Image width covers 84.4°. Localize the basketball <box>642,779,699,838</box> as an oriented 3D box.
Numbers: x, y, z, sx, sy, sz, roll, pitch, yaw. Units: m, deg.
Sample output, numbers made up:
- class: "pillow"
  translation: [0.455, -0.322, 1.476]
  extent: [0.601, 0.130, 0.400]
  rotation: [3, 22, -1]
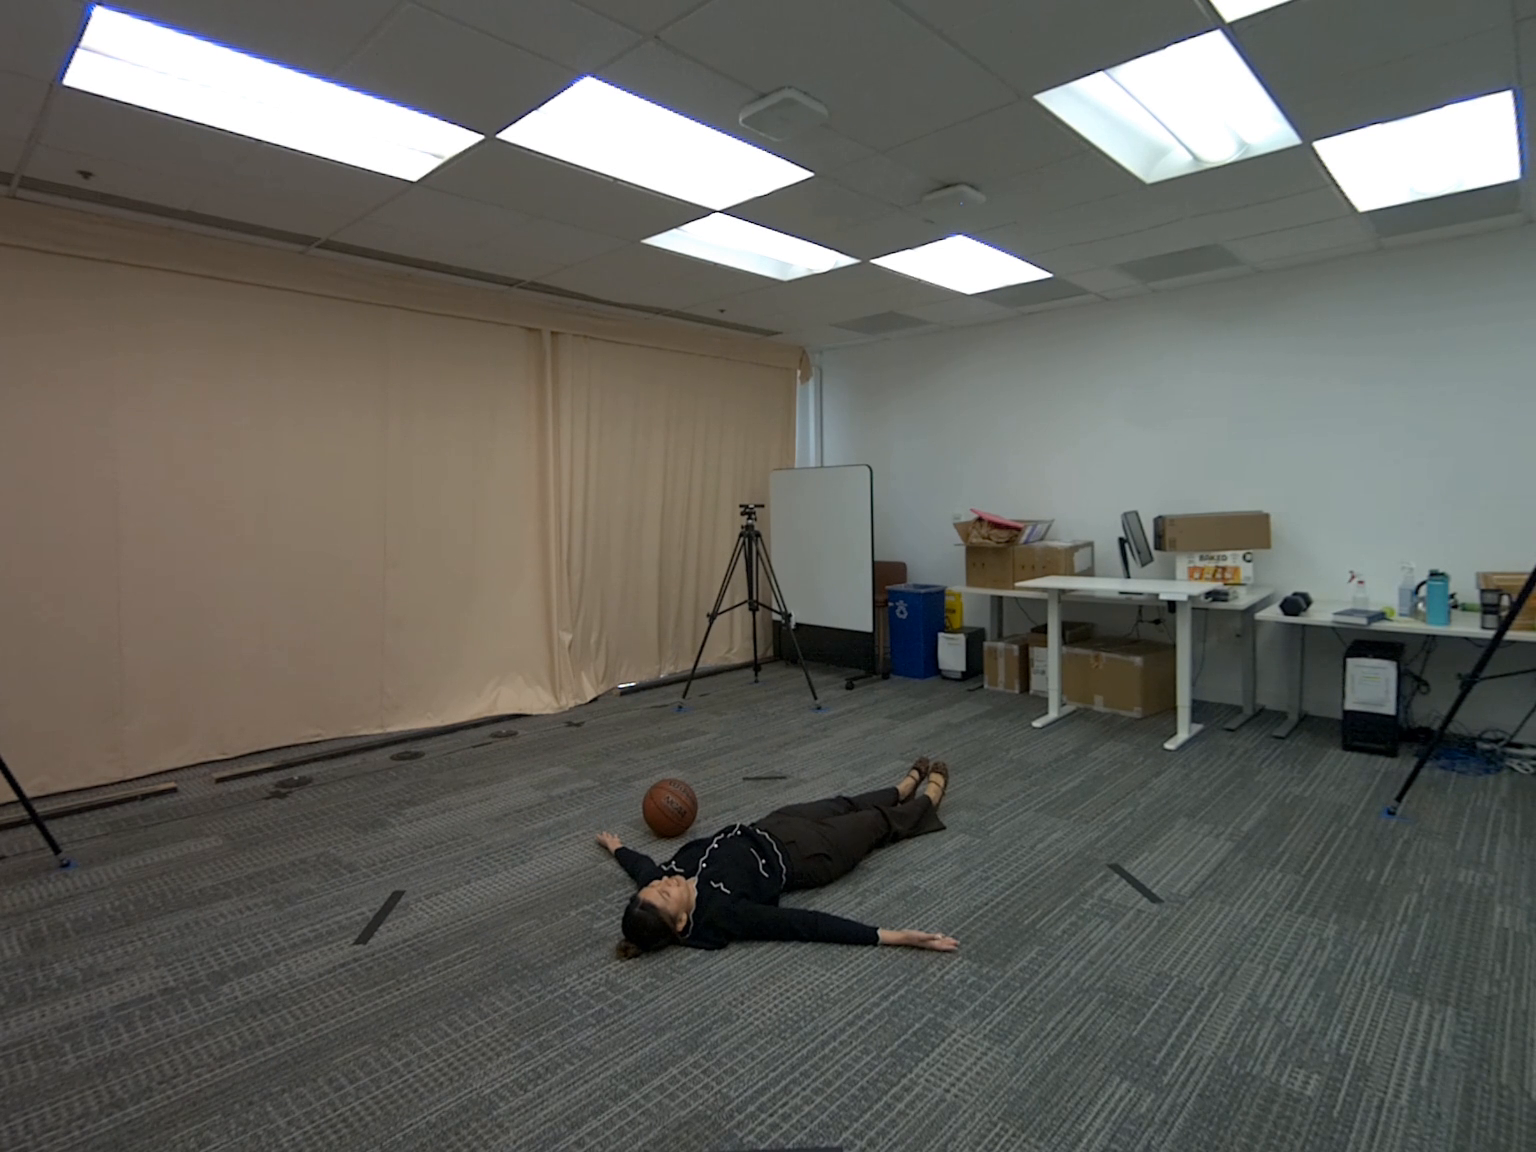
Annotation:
- class: "basketball"
  translation: [-0.417, 0.979, 3.574]
  extent: [0.236, 0.235, 0.237]
  rotation: [-1, 4, -2]
